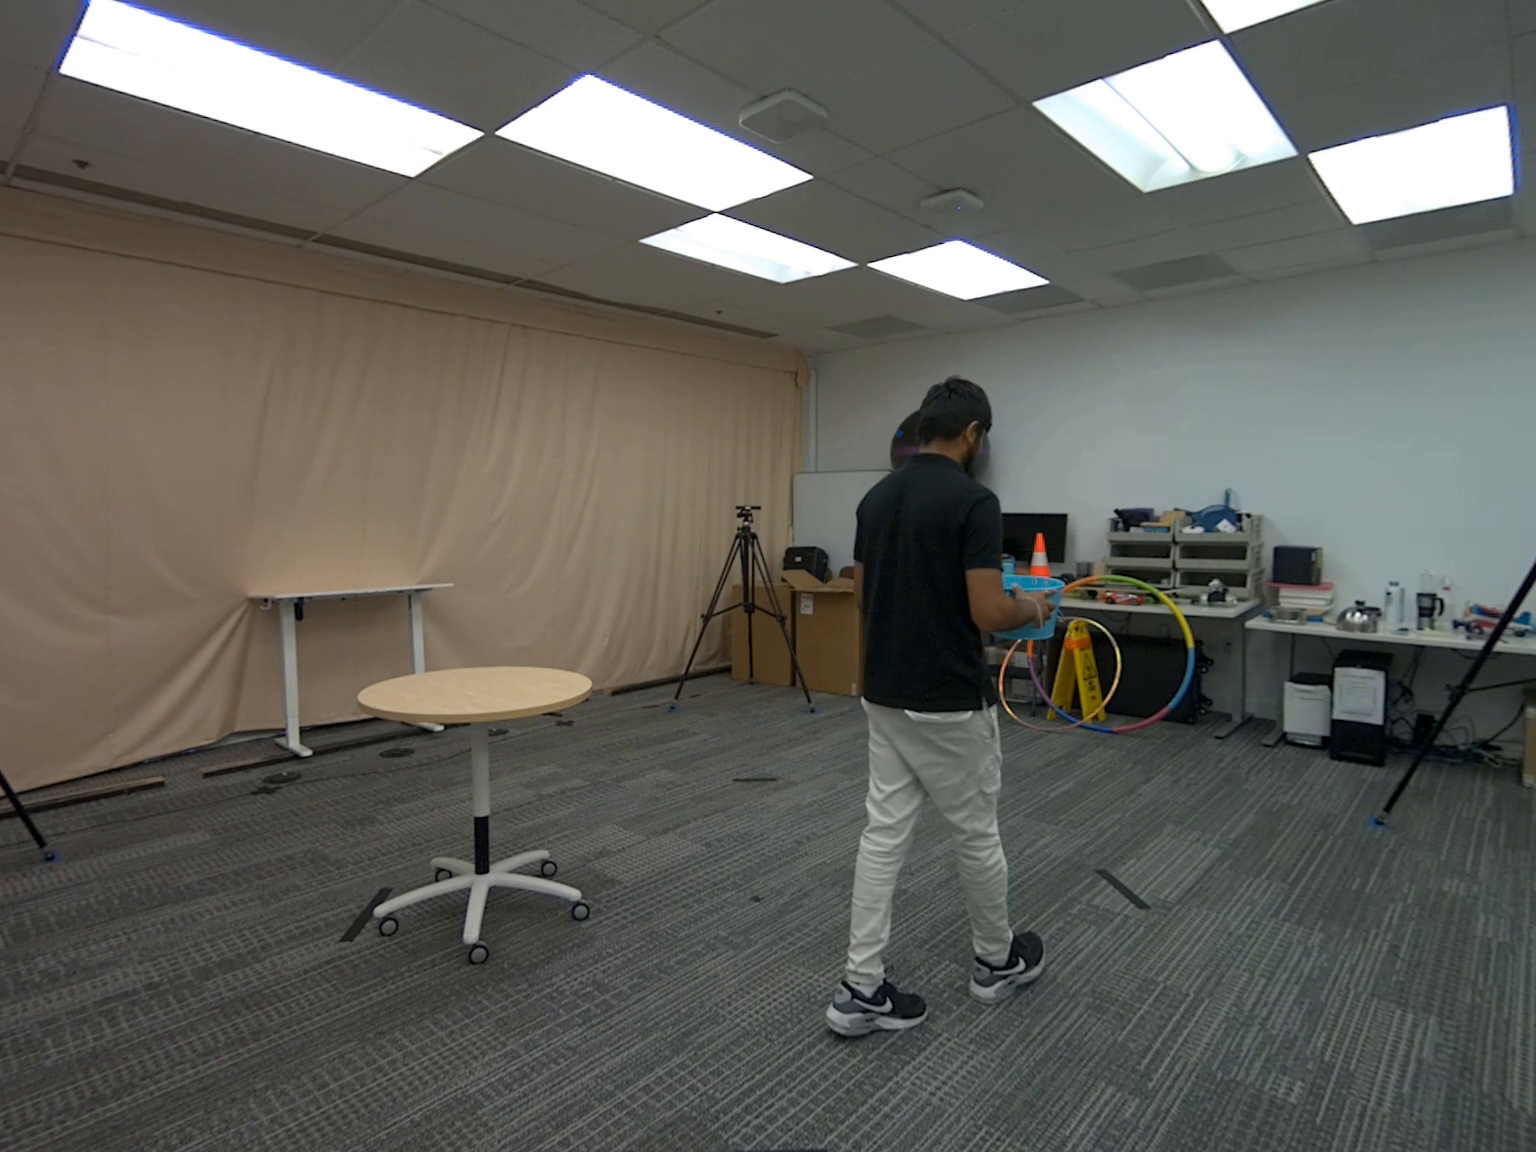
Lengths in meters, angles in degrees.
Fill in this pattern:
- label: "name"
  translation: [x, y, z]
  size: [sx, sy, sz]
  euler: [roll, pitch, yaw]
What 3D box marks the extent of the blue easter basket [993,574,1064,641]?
- label: "blue easter basket"
  translation: [0.766, 0.096, 2.479]
  size: [0.243, 0.155, 0.245]
  euler: [-2, 8, -2]
